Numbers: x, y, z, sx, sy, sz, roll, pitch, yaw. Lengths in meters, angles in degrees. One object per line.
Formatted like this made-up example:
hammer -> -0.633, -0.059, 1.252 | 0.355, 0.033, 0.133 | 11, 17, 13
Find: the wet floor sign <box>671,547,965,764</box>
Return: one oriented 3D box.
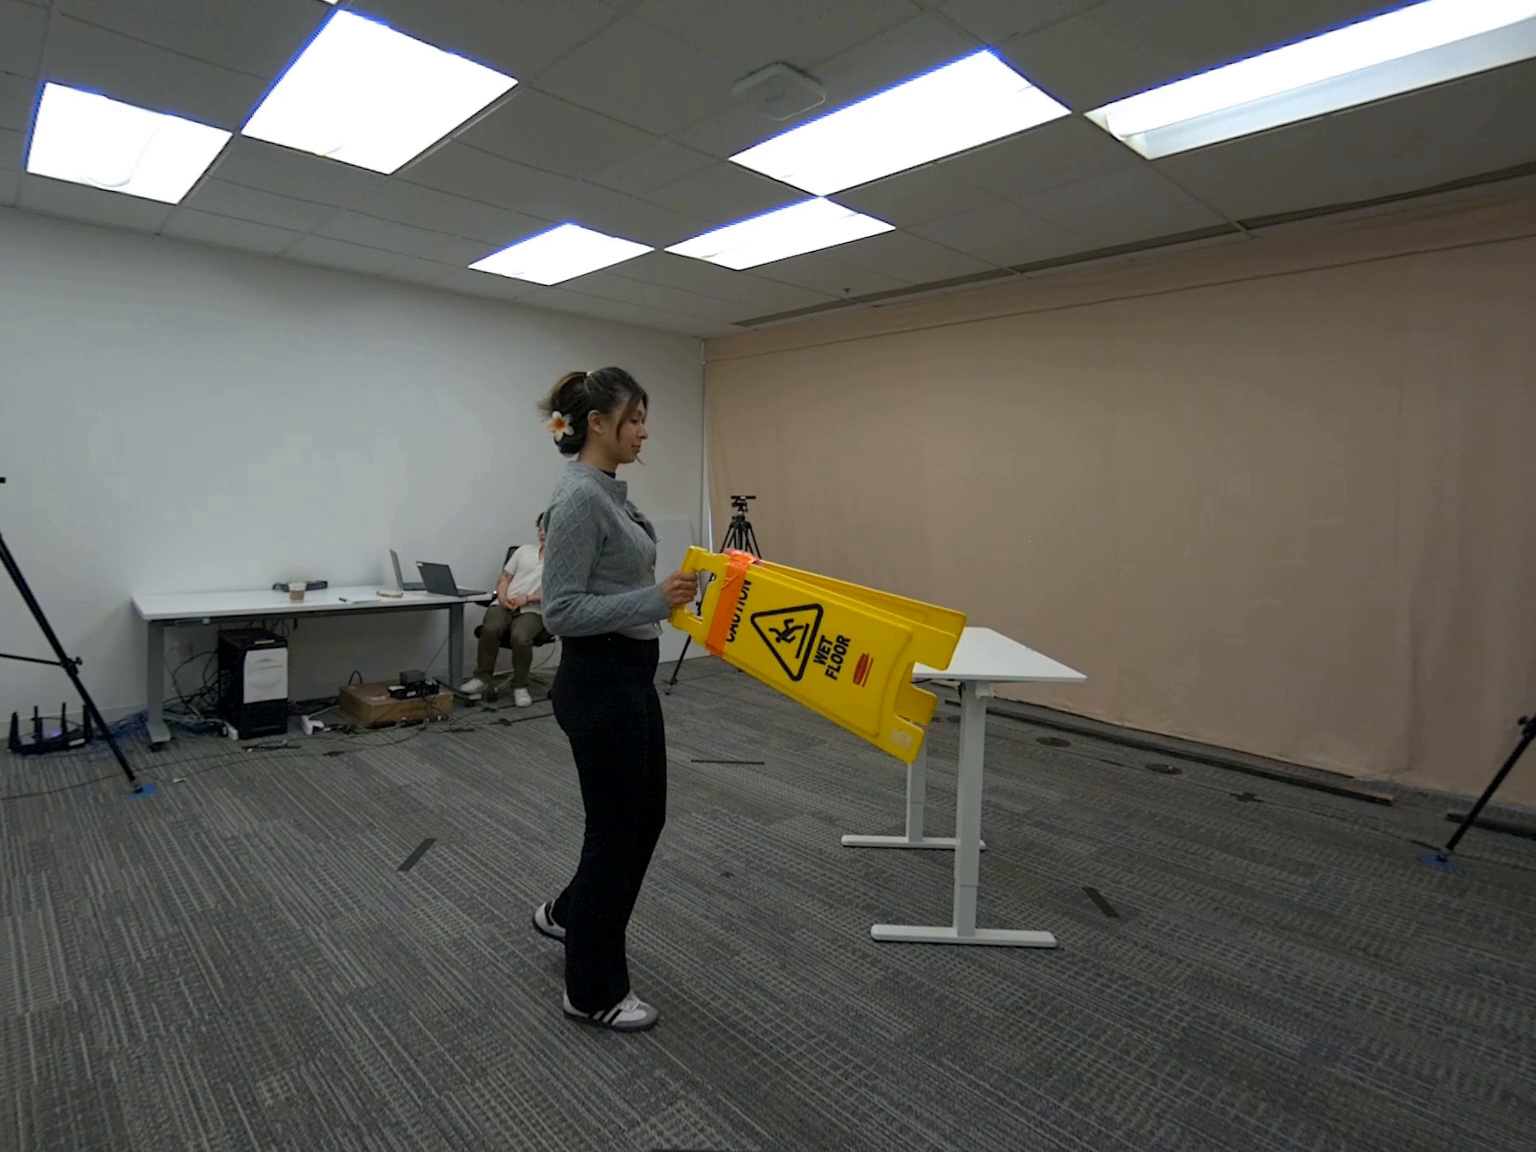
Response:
wet floor sign -> 0.071, 0.133, 1.887 | 0.657, 0.280, 0.286 | 21, 13, 17
